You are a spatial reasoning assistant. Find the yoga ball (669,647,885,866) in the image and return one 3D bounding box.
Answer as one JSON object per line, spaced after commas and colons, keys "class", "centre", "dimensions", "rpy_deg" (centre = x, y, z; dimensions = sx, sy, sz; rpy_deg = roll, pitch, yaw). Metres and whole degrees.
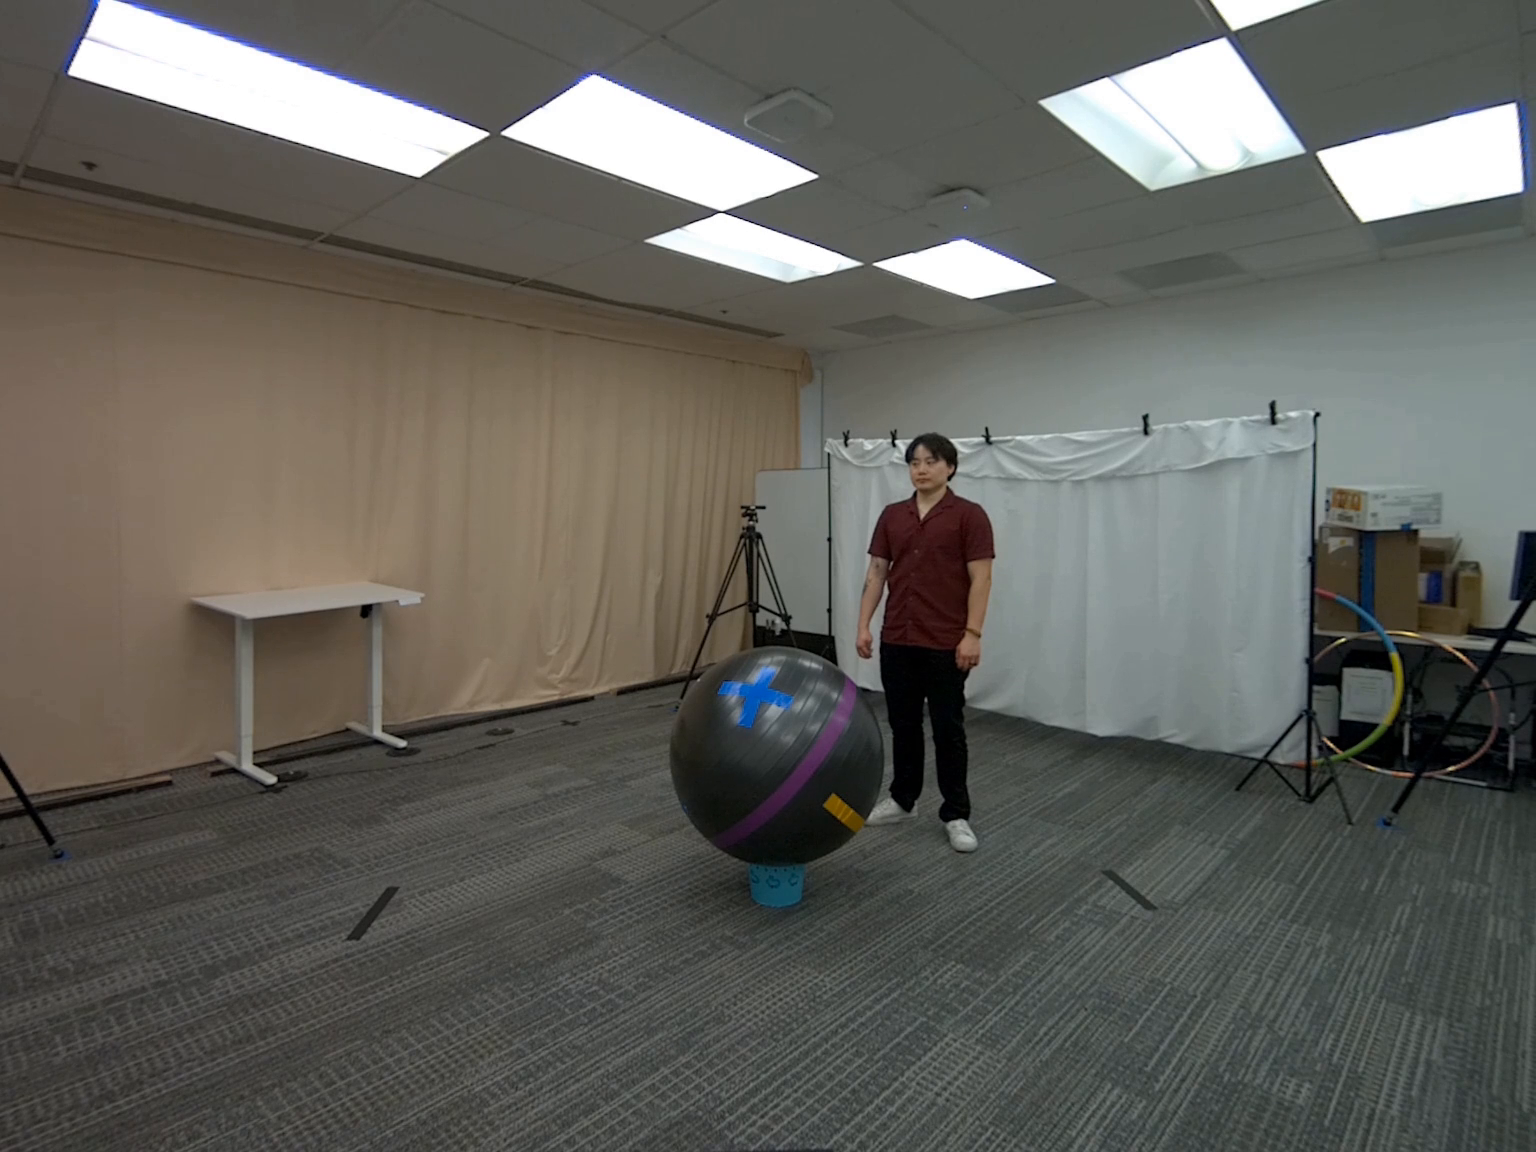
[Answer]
{"class": "yoga ball", "centre": [0.026, 0.627, 2.999], "dimensions": [0.757, 0.756, 0.761], "rpy_deg": [0, 4, -2]}
